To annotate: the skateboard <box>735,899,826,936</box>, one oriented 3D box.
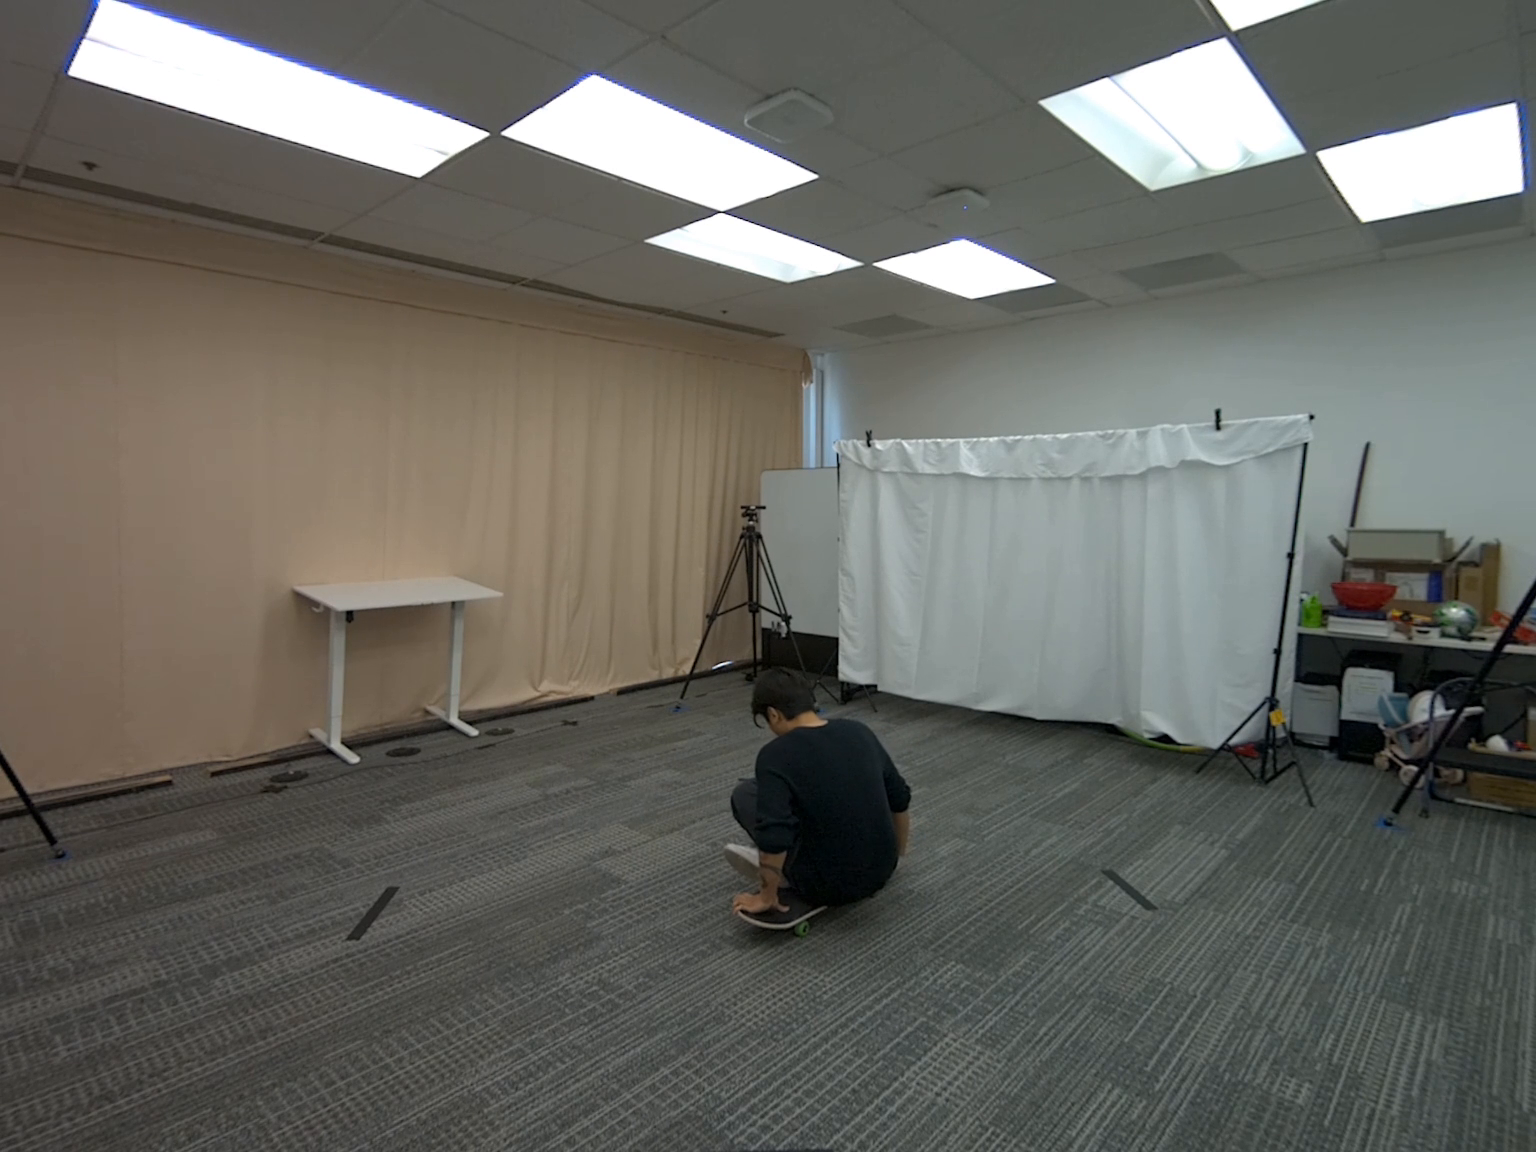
[{"bbox_3d":[0.185,1.099,2.924,0.200,0.110,0.762,11,11,41],"label":"skateboard"}]
